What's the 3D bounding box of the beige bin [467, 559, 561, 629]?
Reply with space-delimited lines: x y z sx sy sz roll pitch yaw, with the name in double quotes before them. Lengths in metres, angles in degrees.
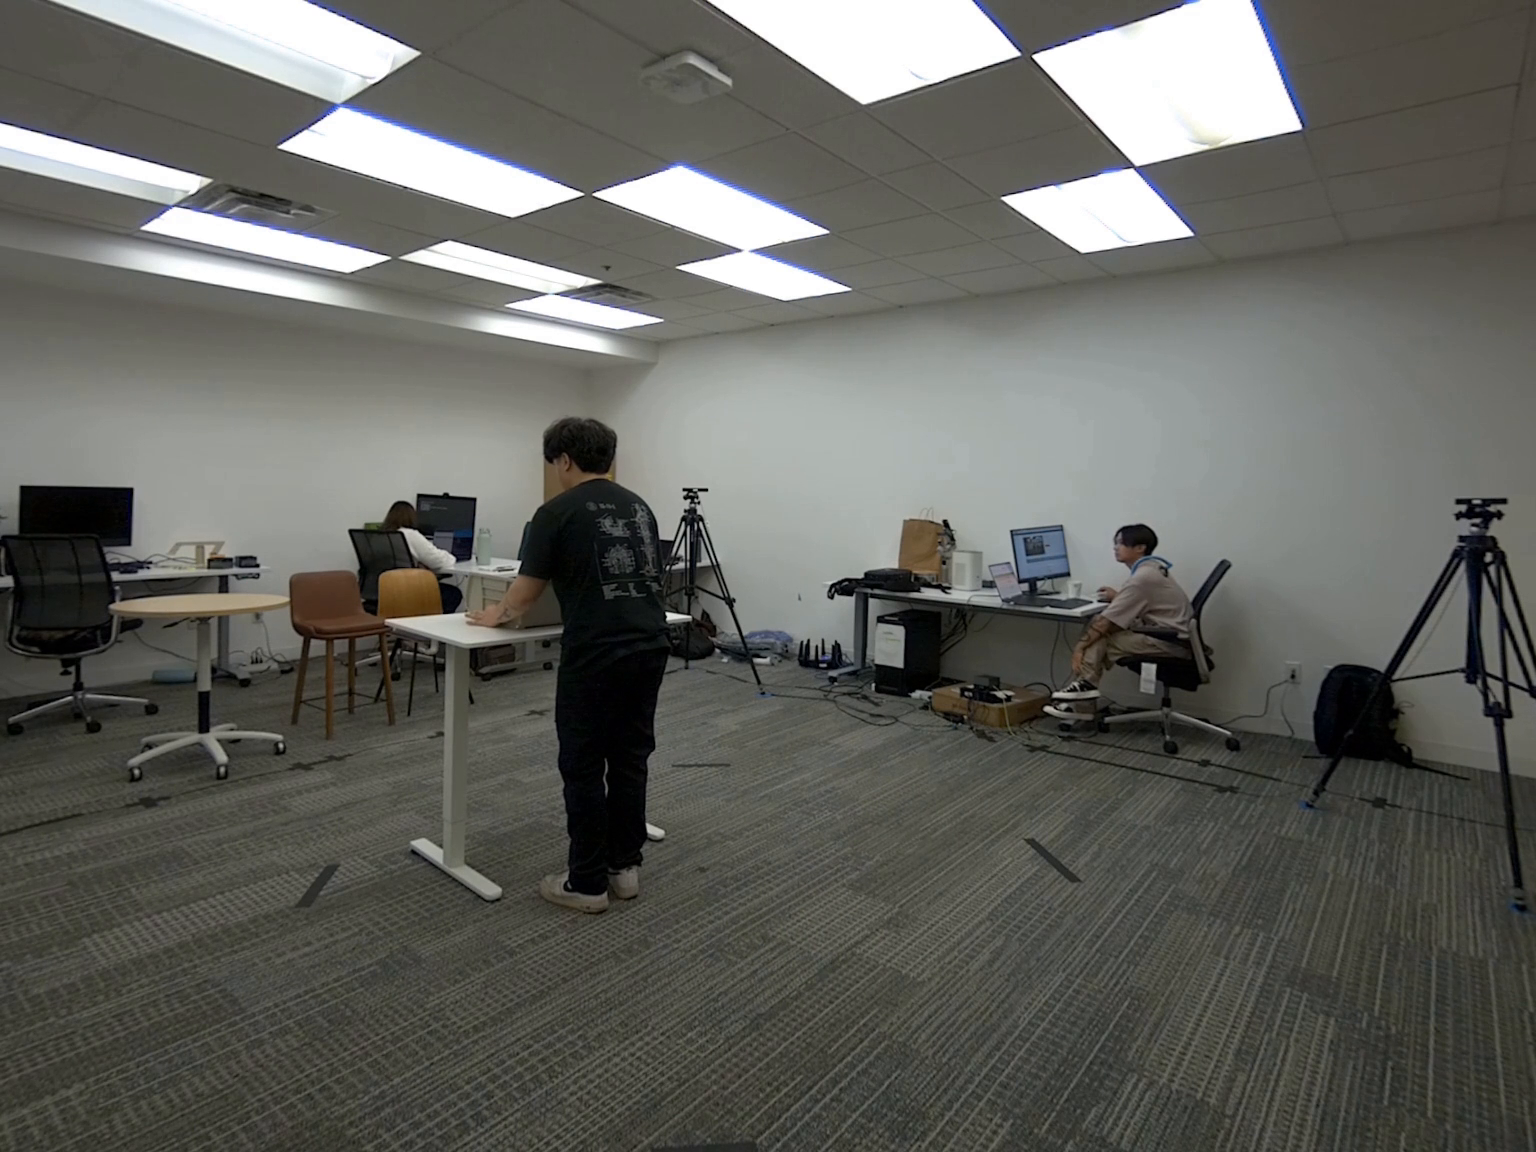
"beige bin" -0.900 0.070 3.257 0.391 0.188 0.410 8 8 41
